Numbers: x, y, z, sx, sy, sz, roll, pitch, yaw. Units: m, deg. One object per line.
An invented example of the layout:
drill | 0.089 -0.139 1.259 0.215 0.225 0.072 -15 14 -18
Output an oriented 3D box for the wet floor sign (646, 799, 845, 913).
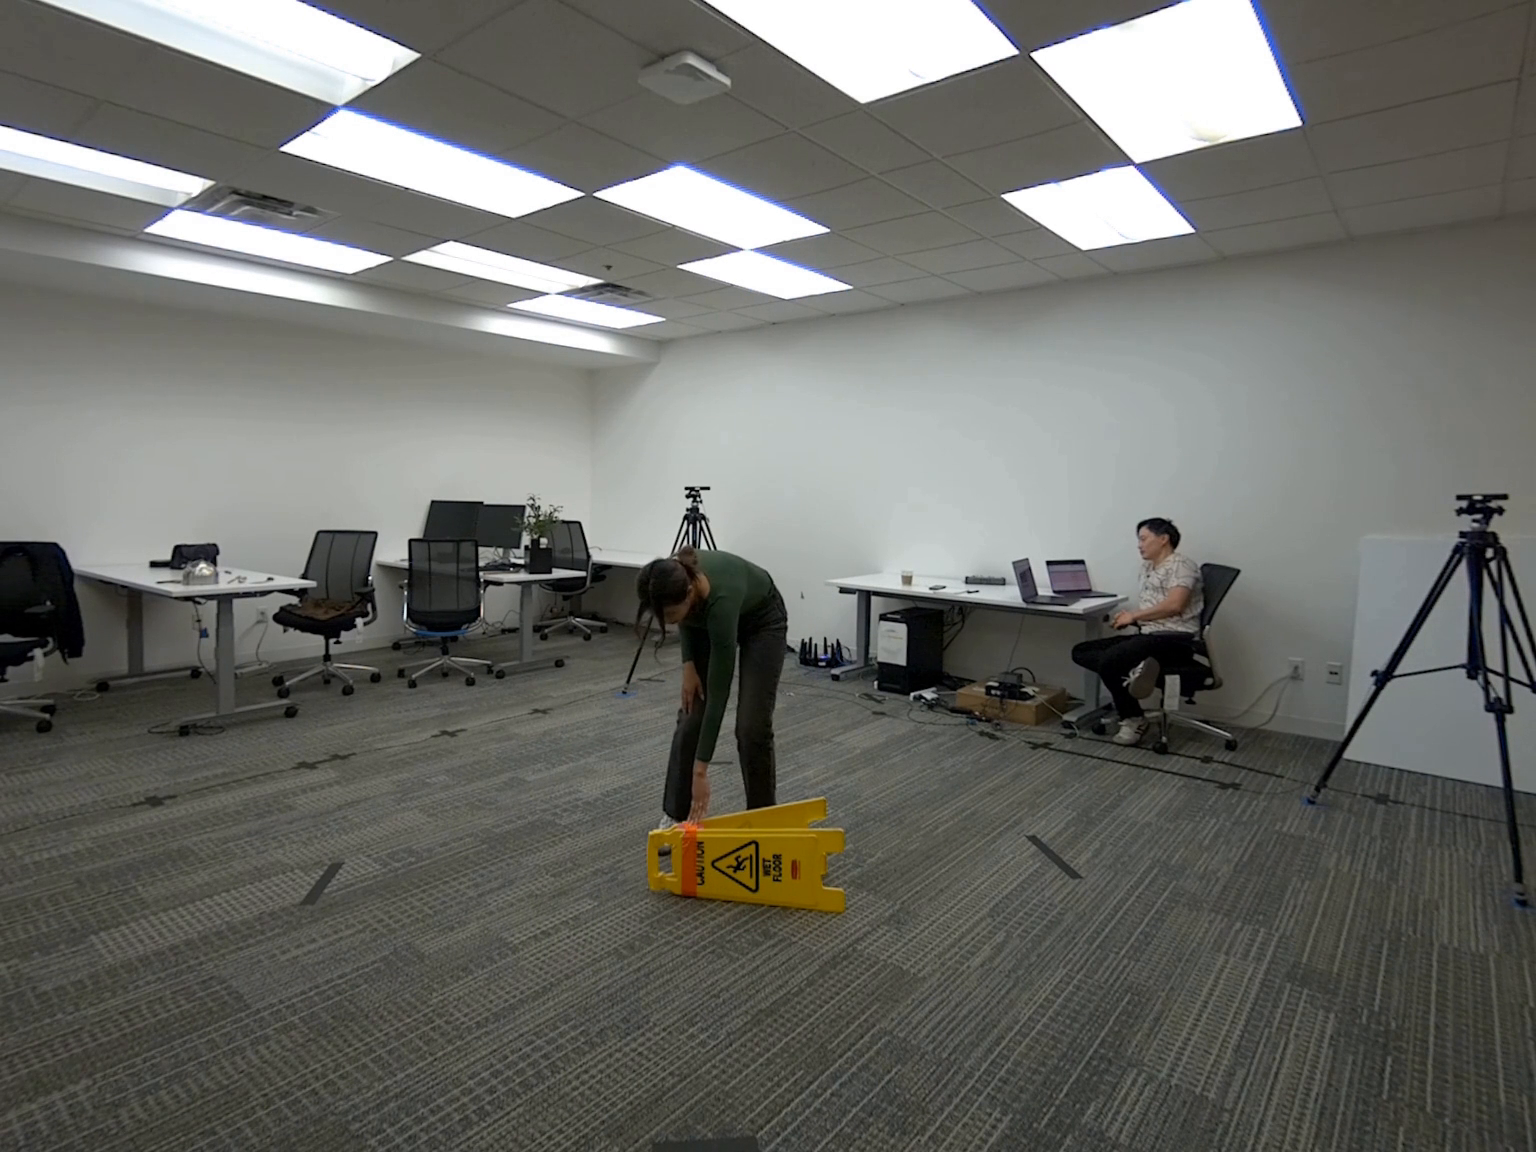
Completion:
wet floor sign | -0.100 0.954 2.909 0.642 0.281 0.292 -2 5 -5
